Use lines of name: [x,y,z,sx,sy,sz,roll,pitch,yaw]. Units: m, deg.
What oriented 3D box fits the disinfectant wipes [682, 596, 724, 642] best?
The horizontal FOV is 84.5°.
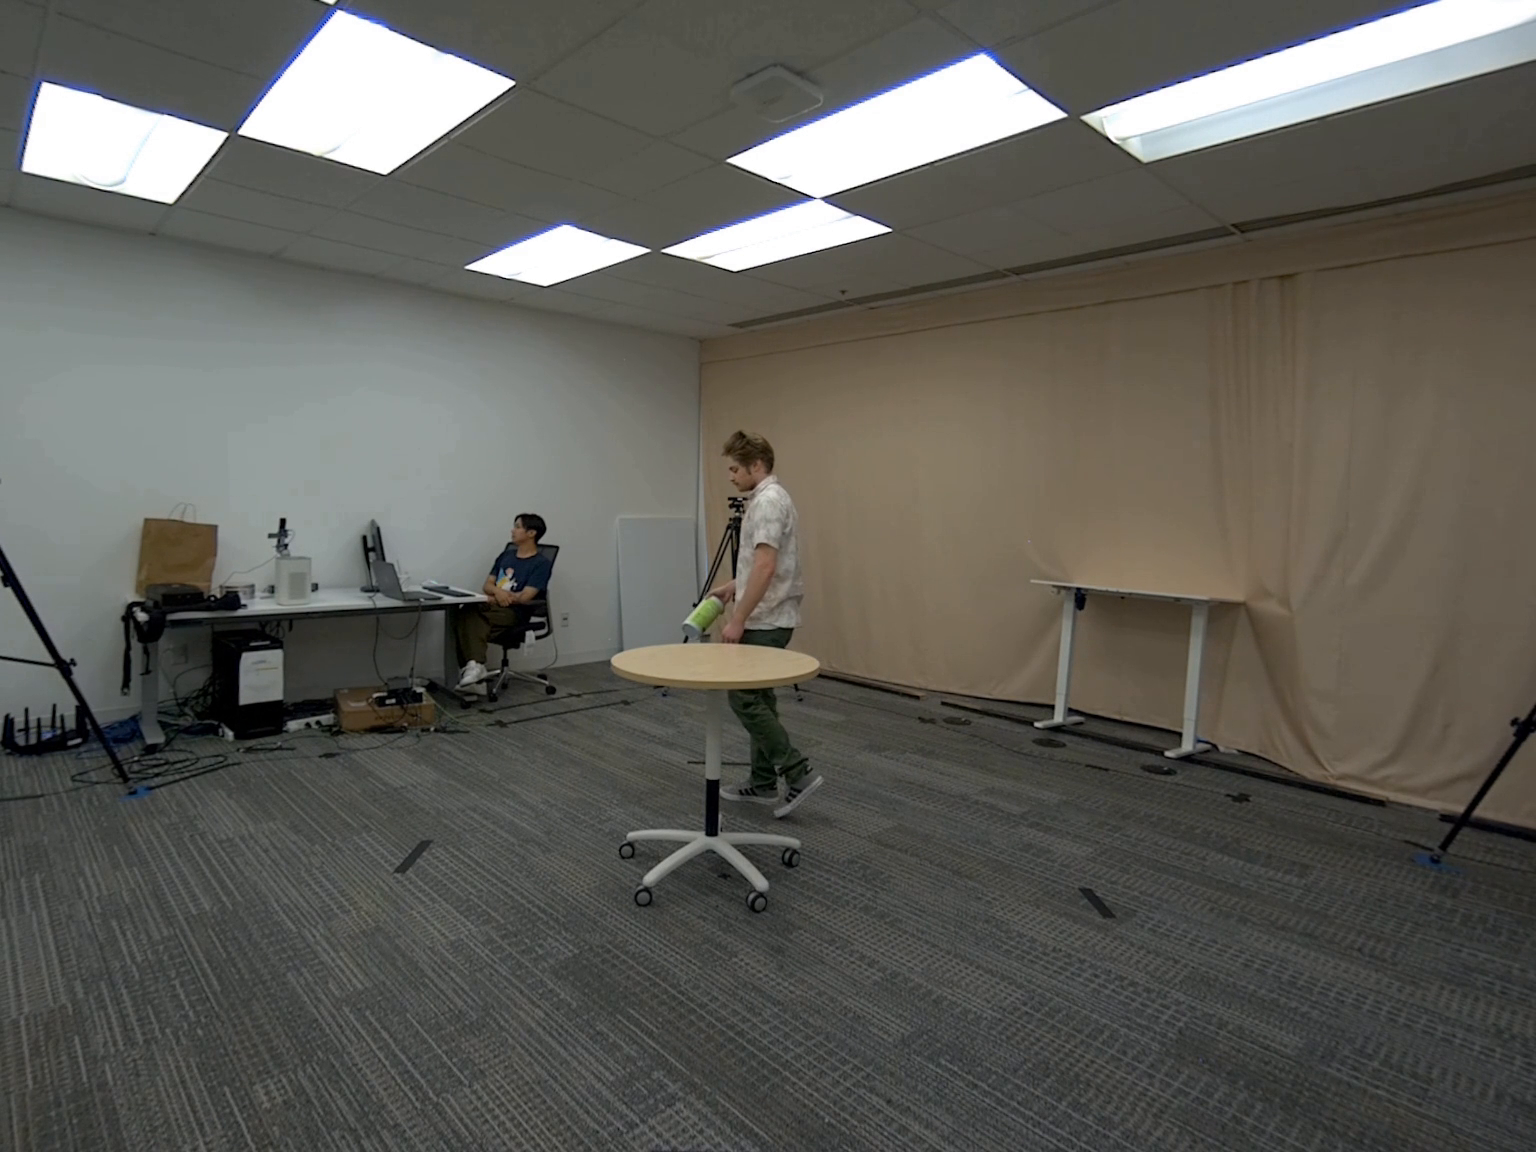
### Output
disinfectant wipes: [-0.321,0.197,4.057,0.121,0.115,0.217,5,42,40]
